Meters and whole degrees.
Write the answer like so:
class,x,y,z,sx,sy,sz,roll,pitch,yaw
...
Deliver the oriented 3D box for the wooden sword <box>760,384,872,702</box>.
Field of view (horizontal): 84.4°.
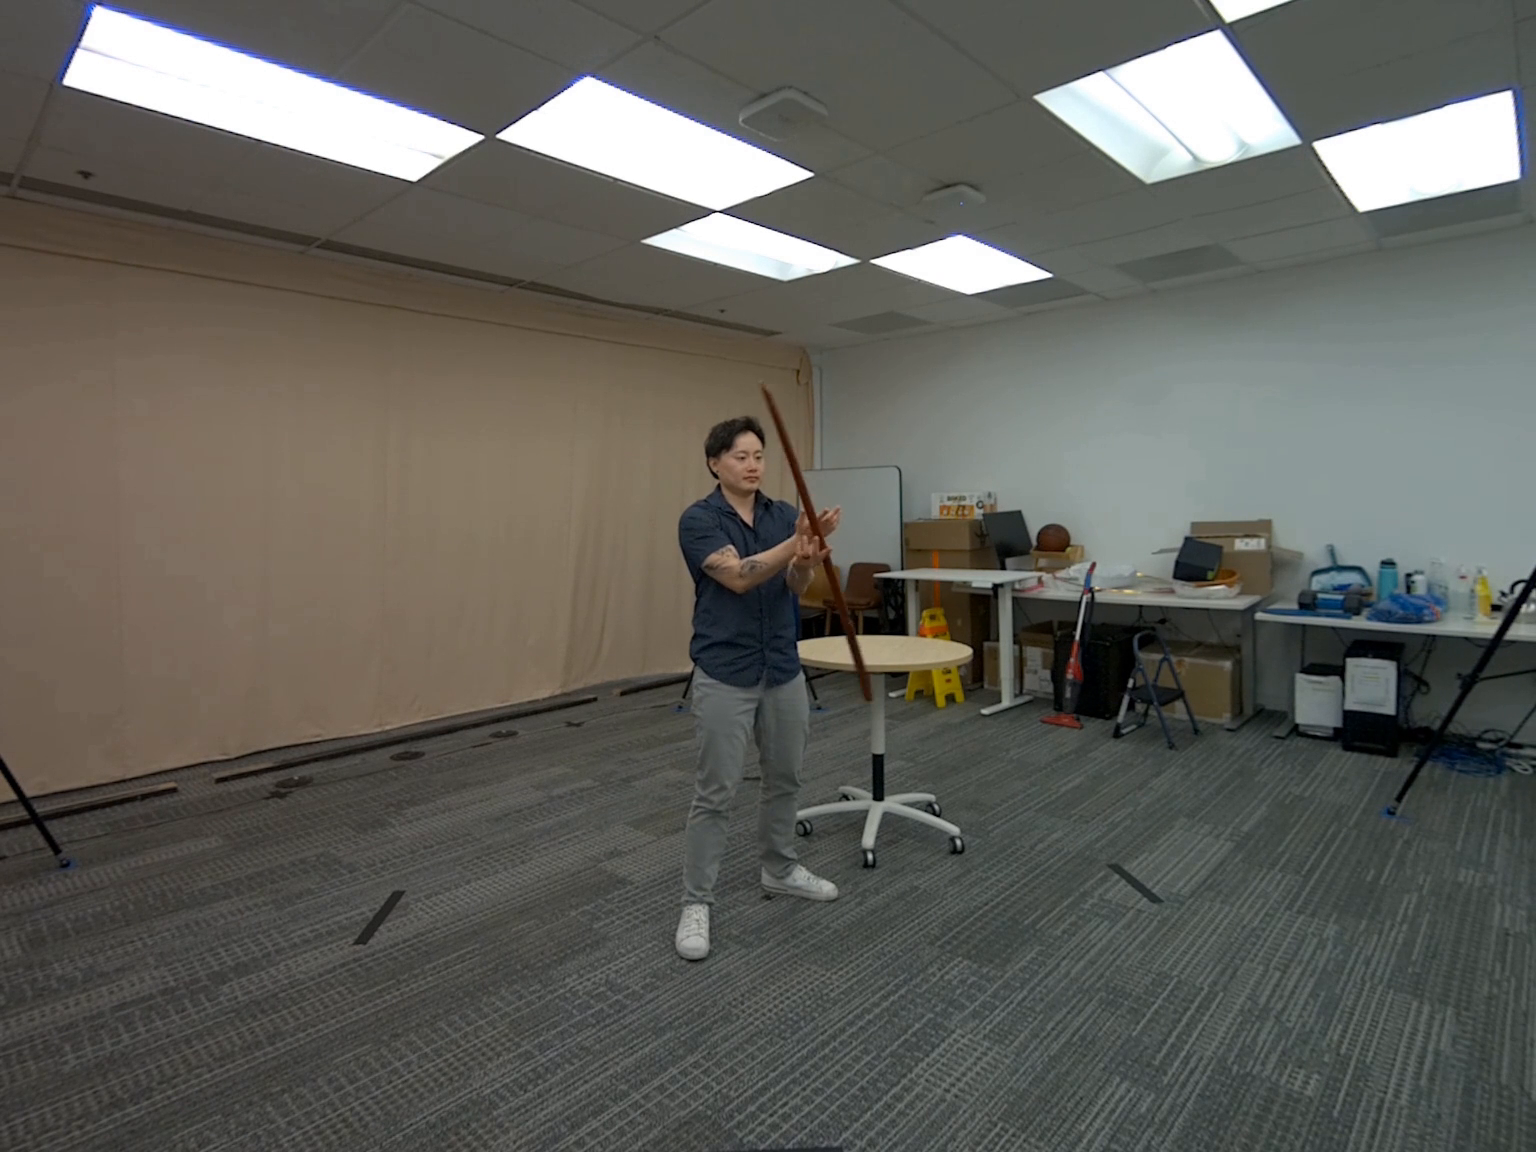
class,x,y,z,sx,sy,sz,roll,pitch,yaw
wooden sword,0.174,-0.078,2.498,0.024,1.014,0.052,-22,11,-23
